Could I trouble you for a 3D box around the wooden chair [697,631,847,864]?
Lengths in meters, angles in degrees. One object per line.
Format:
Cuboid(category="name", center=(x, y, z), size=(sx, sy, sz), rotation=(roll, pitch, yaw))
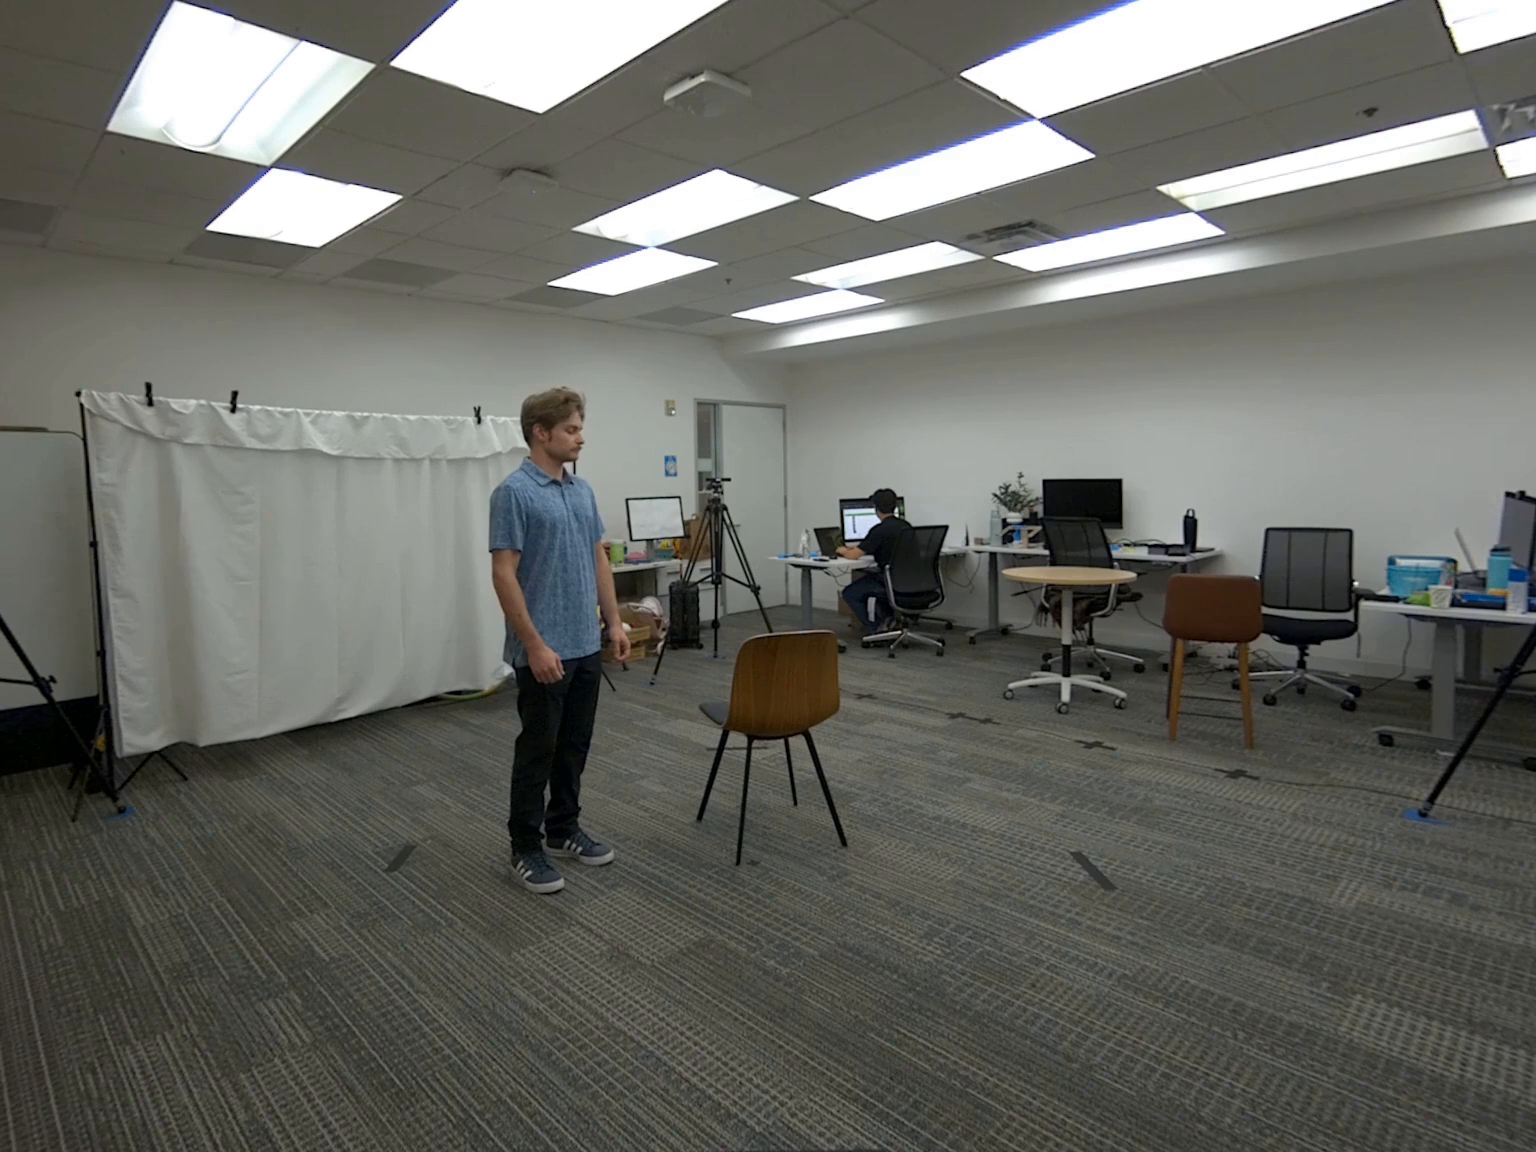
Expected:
Cuboid(category="wooden chair", center=(-0.002, 0.590, 3.343), size=(0.469, 0.871, 0.537), rotation=(-3, 9, -22))
